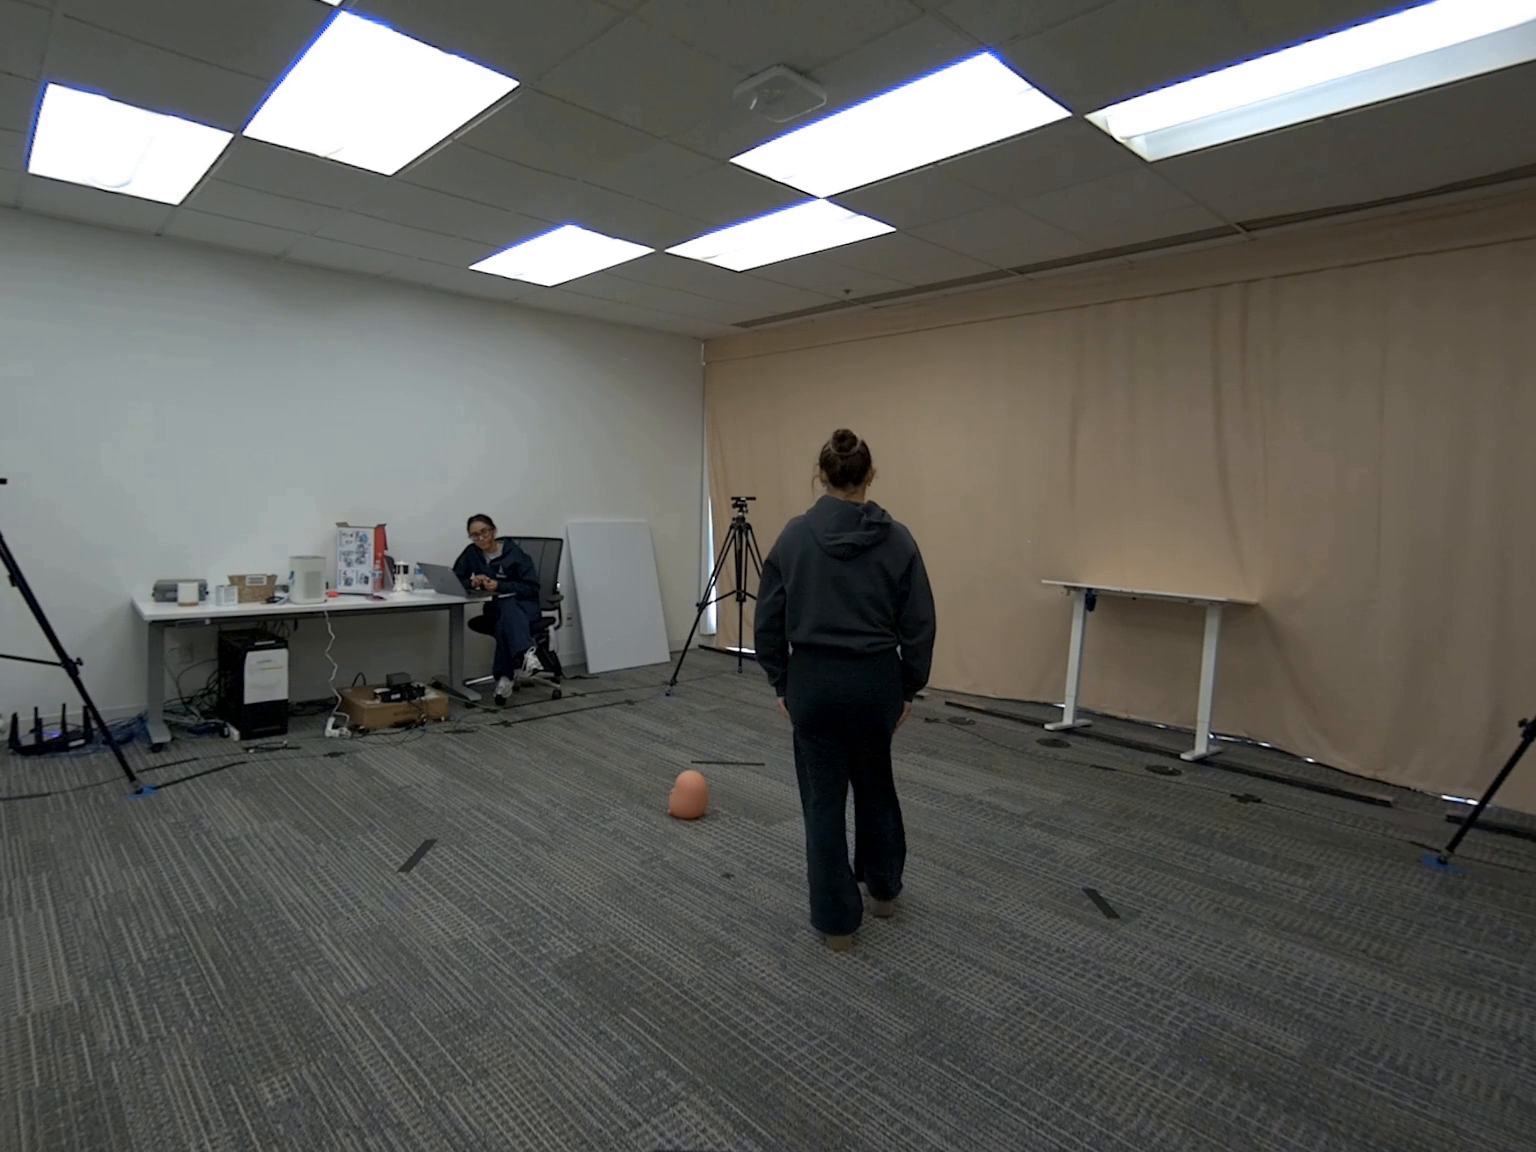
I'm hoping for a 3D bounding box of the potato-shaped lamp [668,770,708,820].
[{"bbox_3d":[-0.361,0.950,3.694,0.175,0.198,0.161,3,3,38],"label":"potato-shaped lamp"}]
